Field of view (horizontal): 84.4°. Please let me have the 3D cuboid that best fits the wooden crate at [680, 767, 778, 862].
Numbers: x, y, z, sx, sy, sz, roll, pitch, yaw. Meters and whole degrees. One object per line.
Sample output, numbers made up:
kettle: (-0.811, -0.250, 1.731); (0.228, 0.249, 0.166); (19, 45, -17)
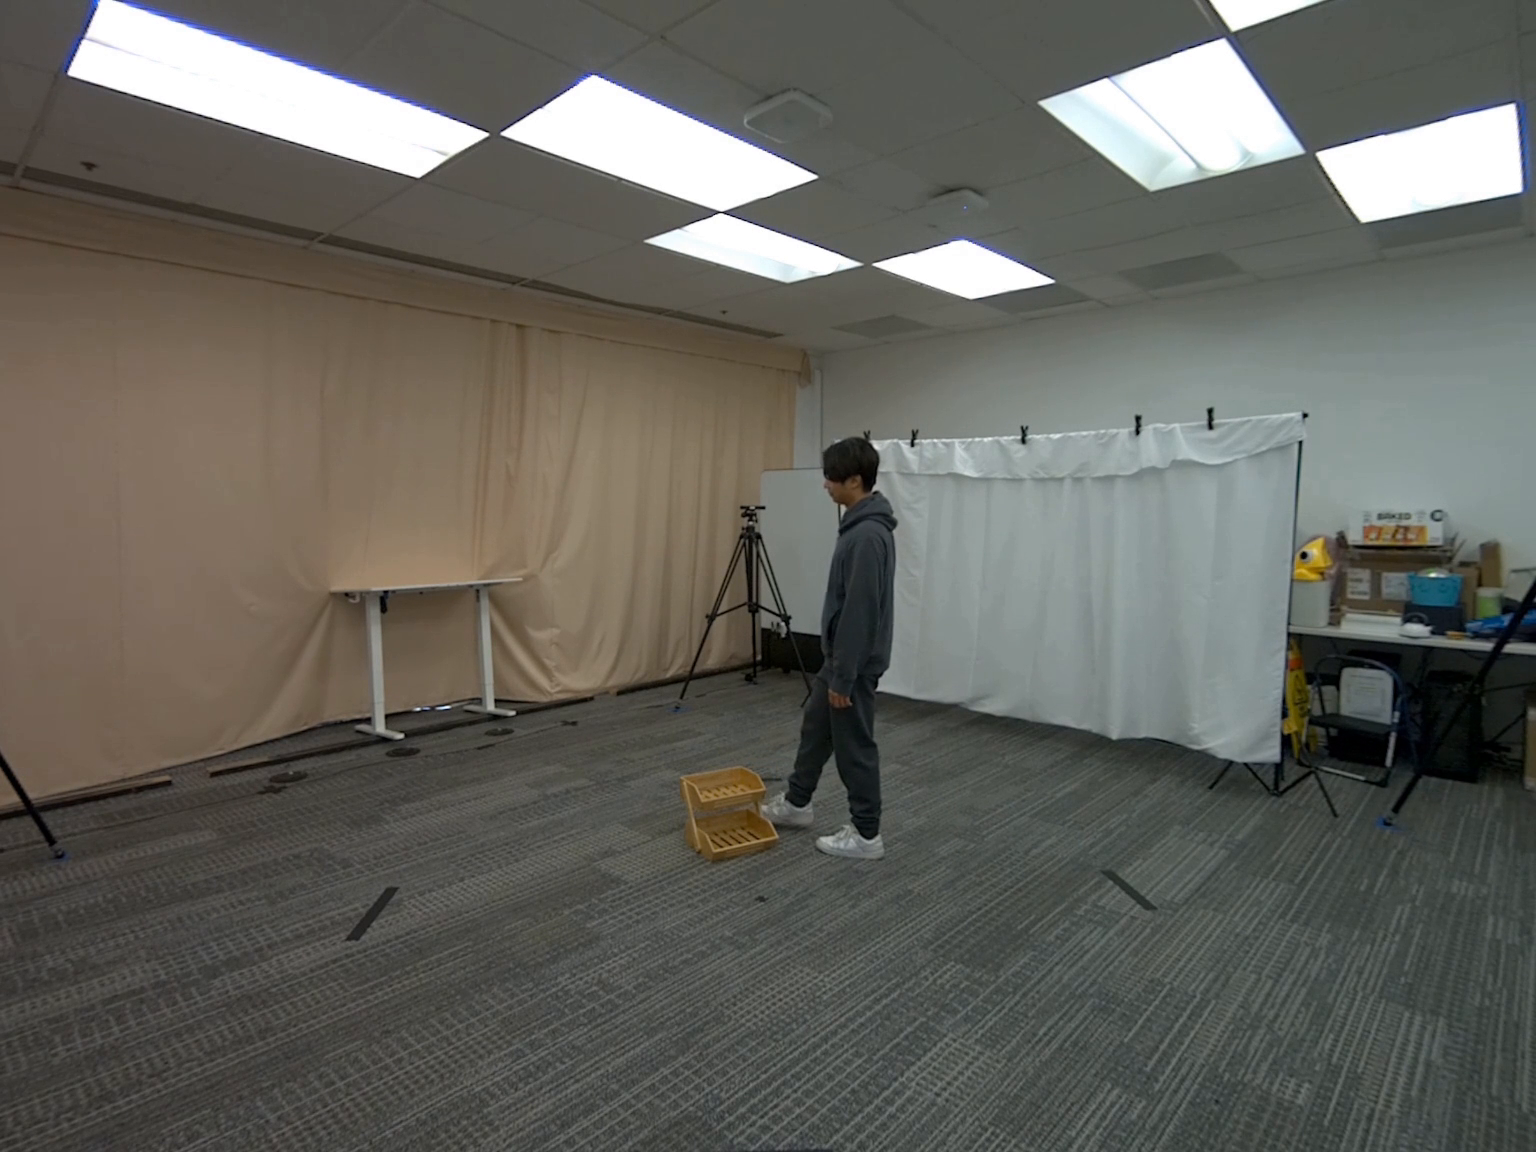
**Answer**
wooden crate: (-0.163, 0.969, 3.471); (0.316, 0.273, 0.310); (-3, 4, -29)
